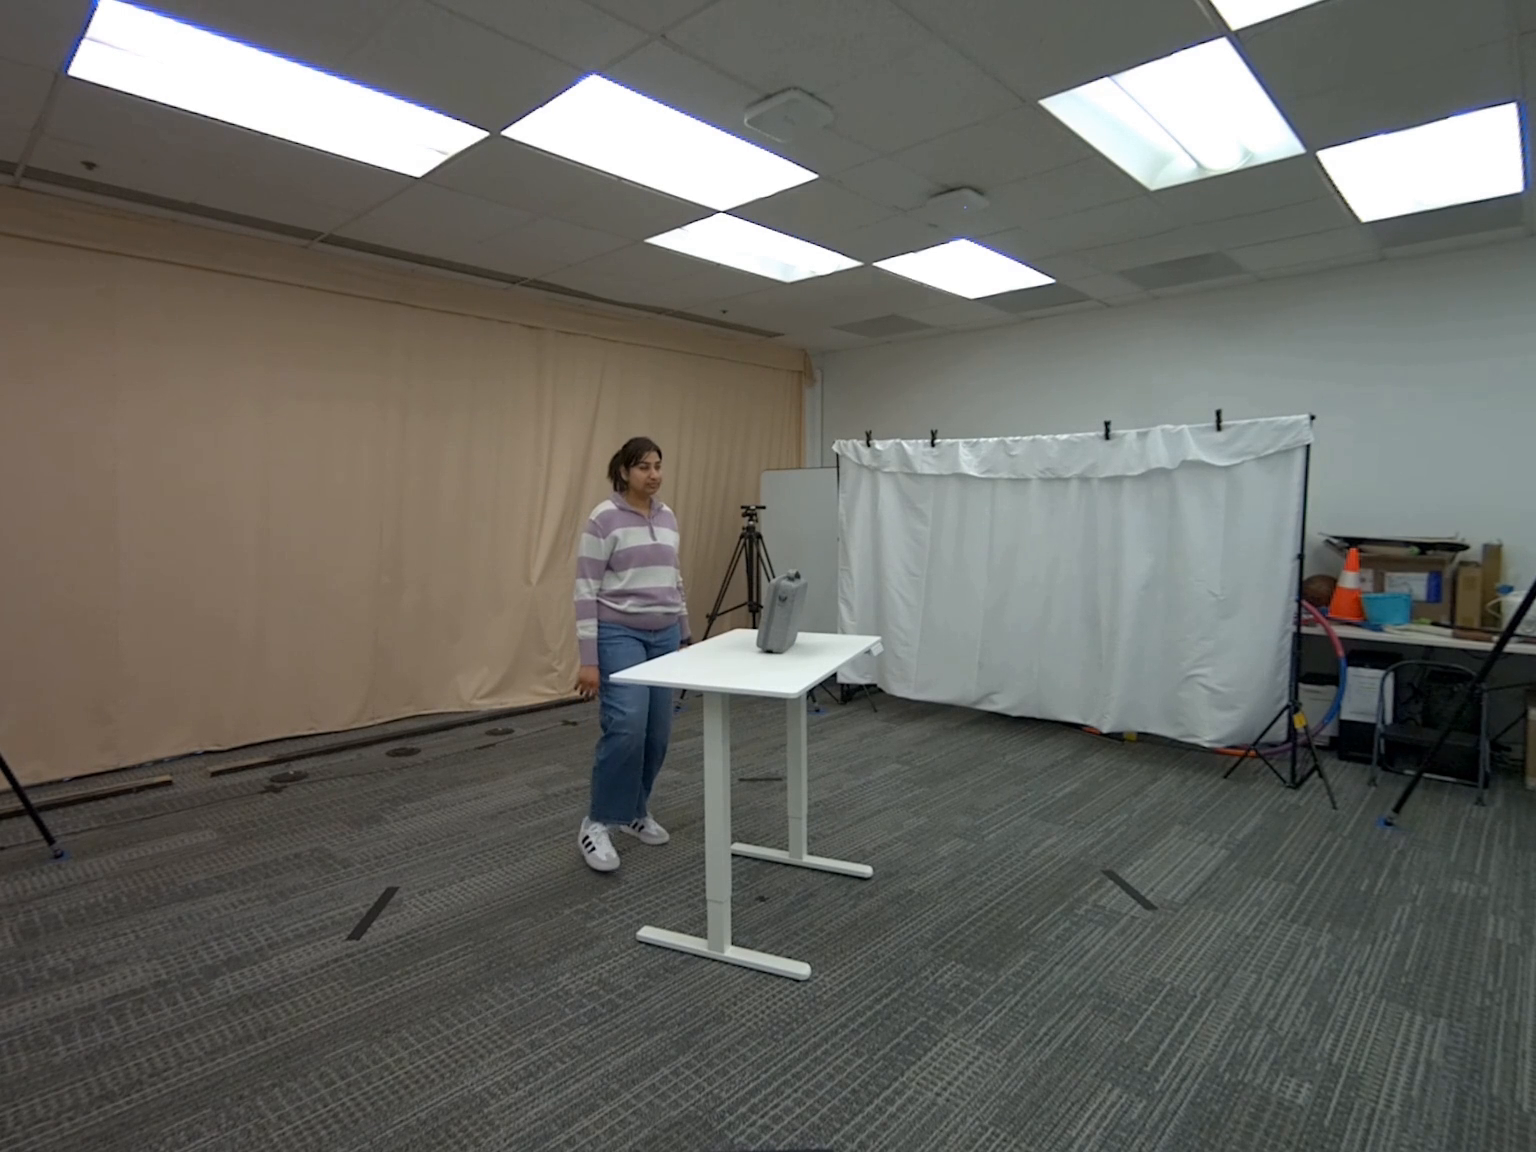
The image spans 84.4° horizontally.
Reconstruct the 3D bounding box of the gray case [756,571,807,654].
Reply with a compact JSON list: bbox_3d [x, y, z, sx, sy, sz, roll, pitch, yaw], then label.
[{"bbox_3d":[0.055,0.128,2.987,0.106,0.260,0.253,10,8,13],"label":"gray case"}]
